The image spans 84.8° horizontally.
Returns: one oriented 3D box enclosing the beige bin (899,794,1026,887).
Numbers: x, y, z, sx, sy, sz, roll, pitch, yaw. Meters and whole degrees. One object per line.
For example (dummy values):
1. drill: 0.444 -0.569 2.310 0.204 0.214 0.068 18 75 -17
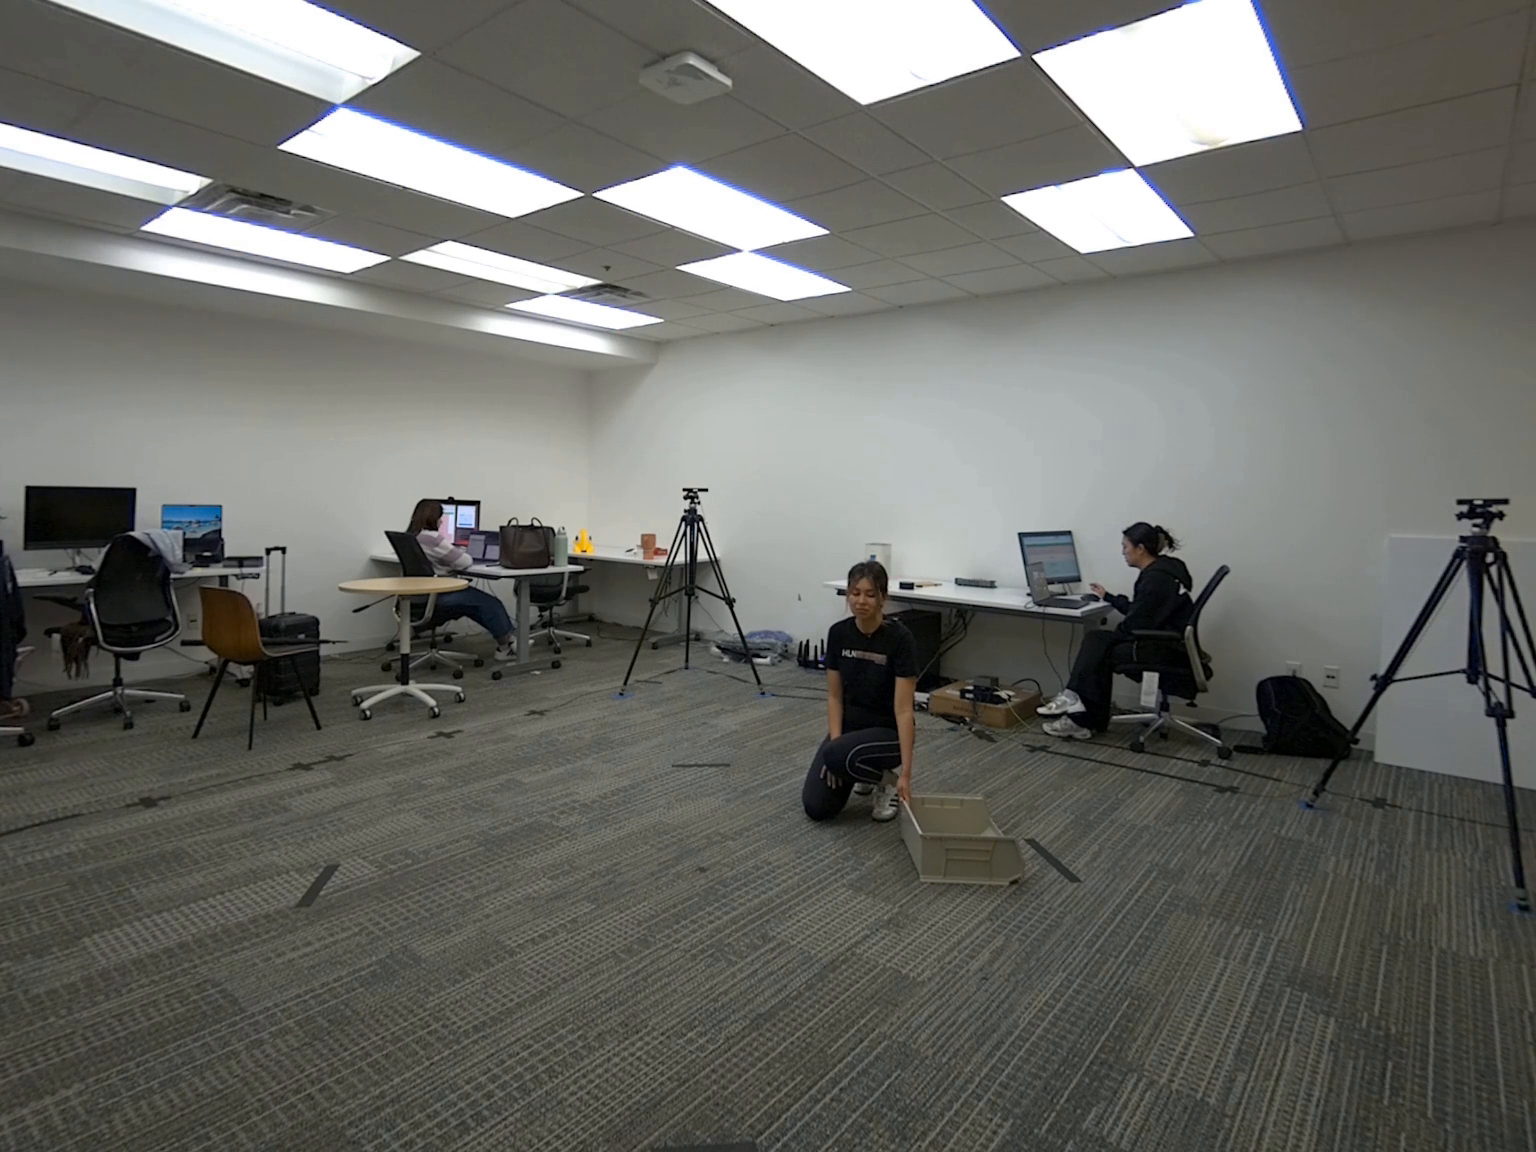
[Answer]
1. beige bin: 0.724 0.990 3.245 0.377 0.188 0.424 0 5 -1
